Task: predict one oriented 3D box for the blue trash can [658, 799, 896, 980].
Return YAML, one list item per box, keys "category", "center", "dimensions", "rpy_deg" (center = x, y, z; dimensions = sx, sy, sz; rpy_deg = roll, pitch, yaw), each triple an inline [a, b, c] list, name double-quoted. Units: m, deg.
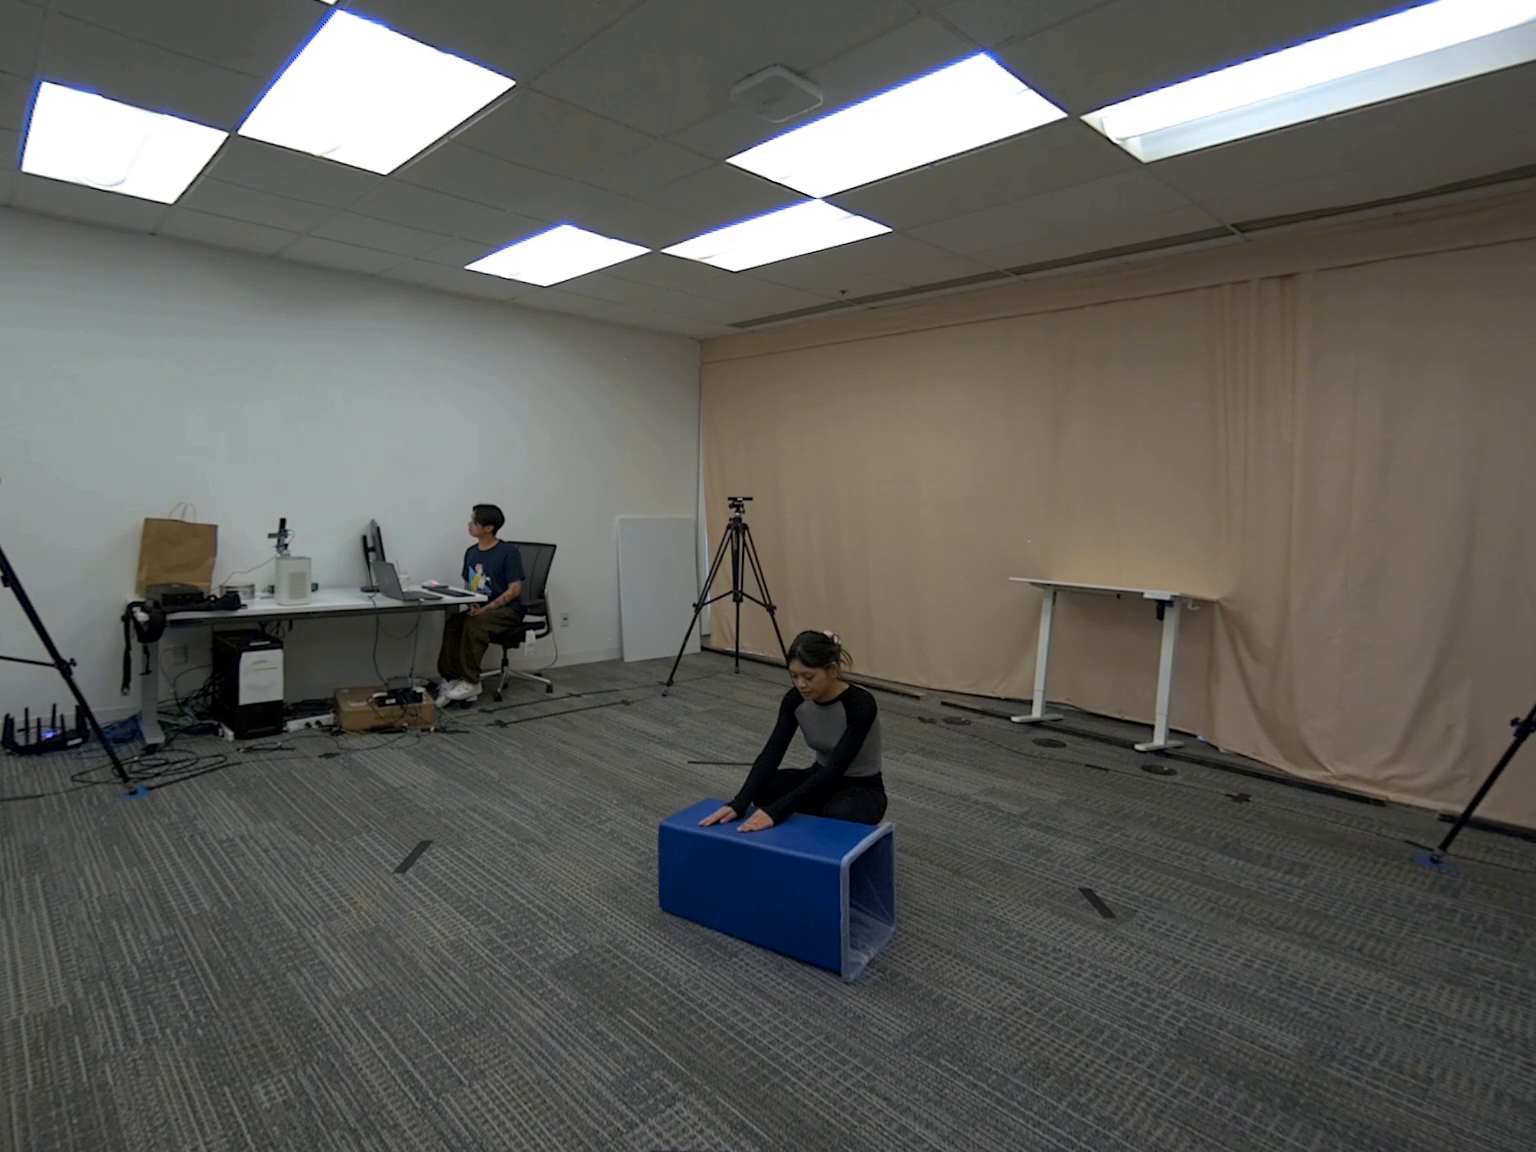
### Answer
- category: "blue trash can"
  center: [0.011, 0.976, 2.756]
  dimensions: [0.729, 0.377, 0.367]
  rpy_deg: [1, 4, 32]
